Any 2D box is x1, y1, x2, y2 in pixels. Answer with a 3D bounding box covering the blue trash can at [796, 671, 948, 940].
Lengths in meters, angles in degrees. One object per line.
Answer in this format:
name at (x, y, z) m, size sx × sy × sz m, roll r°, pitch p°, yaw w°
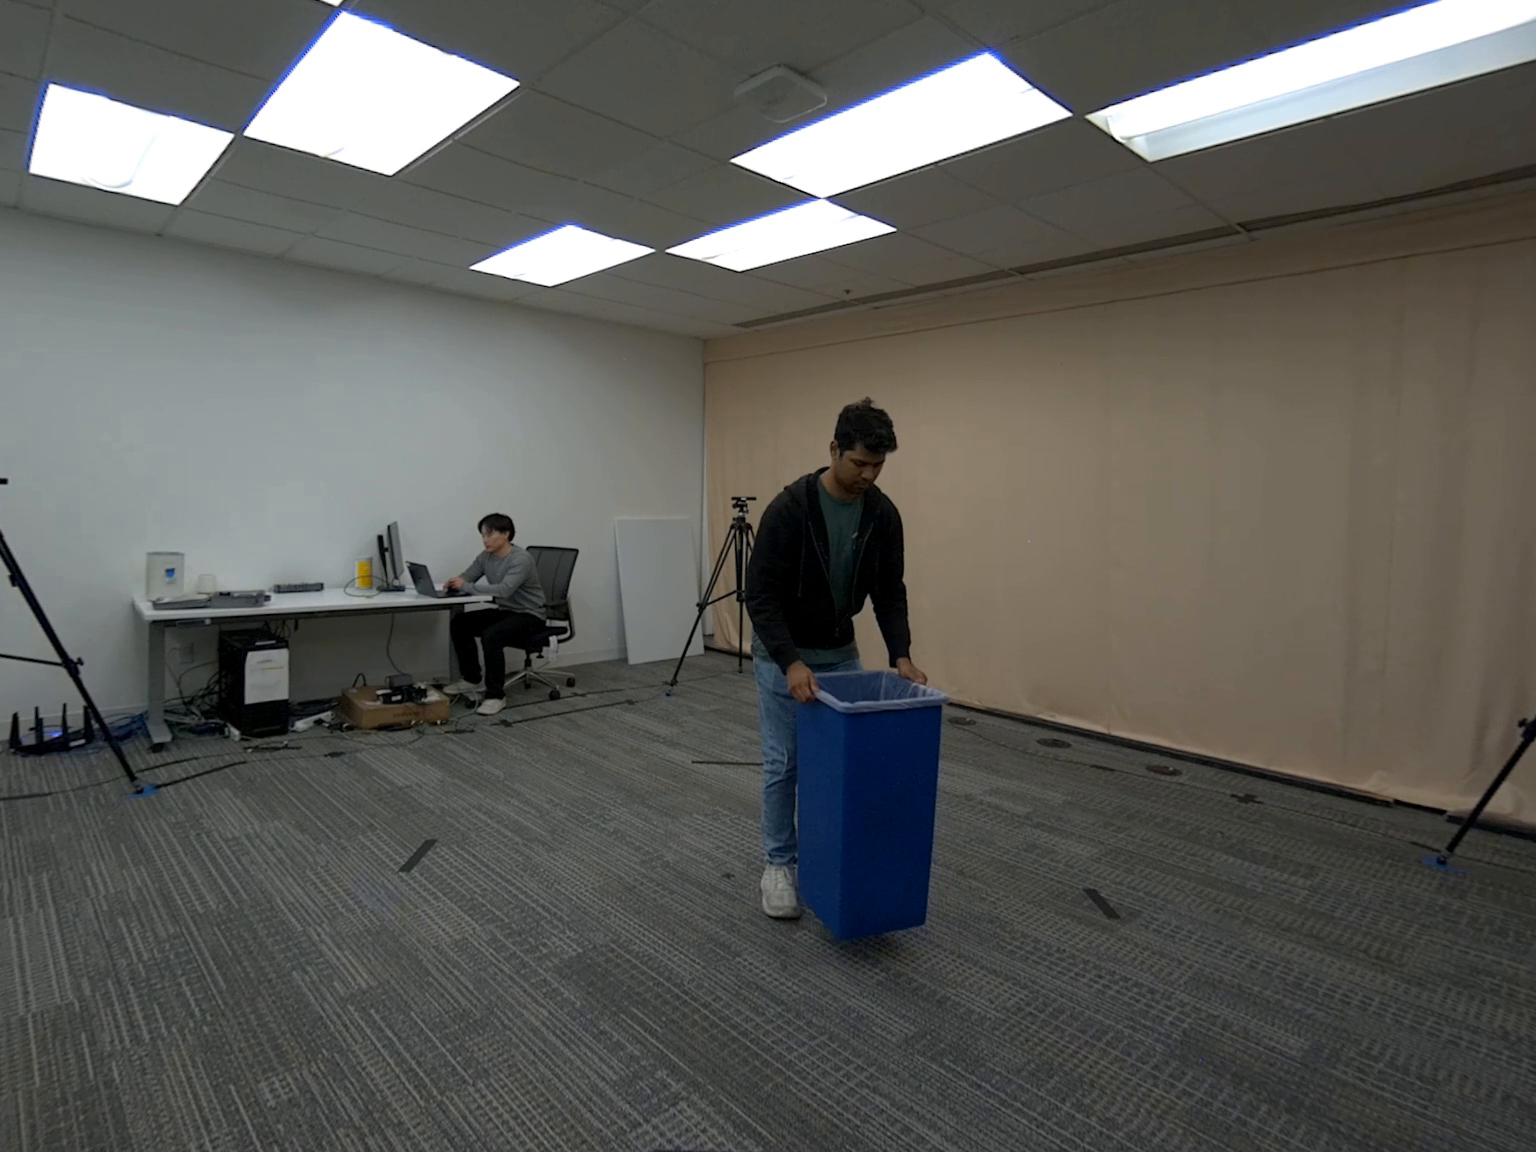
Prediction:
blue trash can at (0.294, 0.691, 2.605) m, size 0.368 × 0.711 × 0.385 m, roll 0°, pitch 4°, yaw -23°
